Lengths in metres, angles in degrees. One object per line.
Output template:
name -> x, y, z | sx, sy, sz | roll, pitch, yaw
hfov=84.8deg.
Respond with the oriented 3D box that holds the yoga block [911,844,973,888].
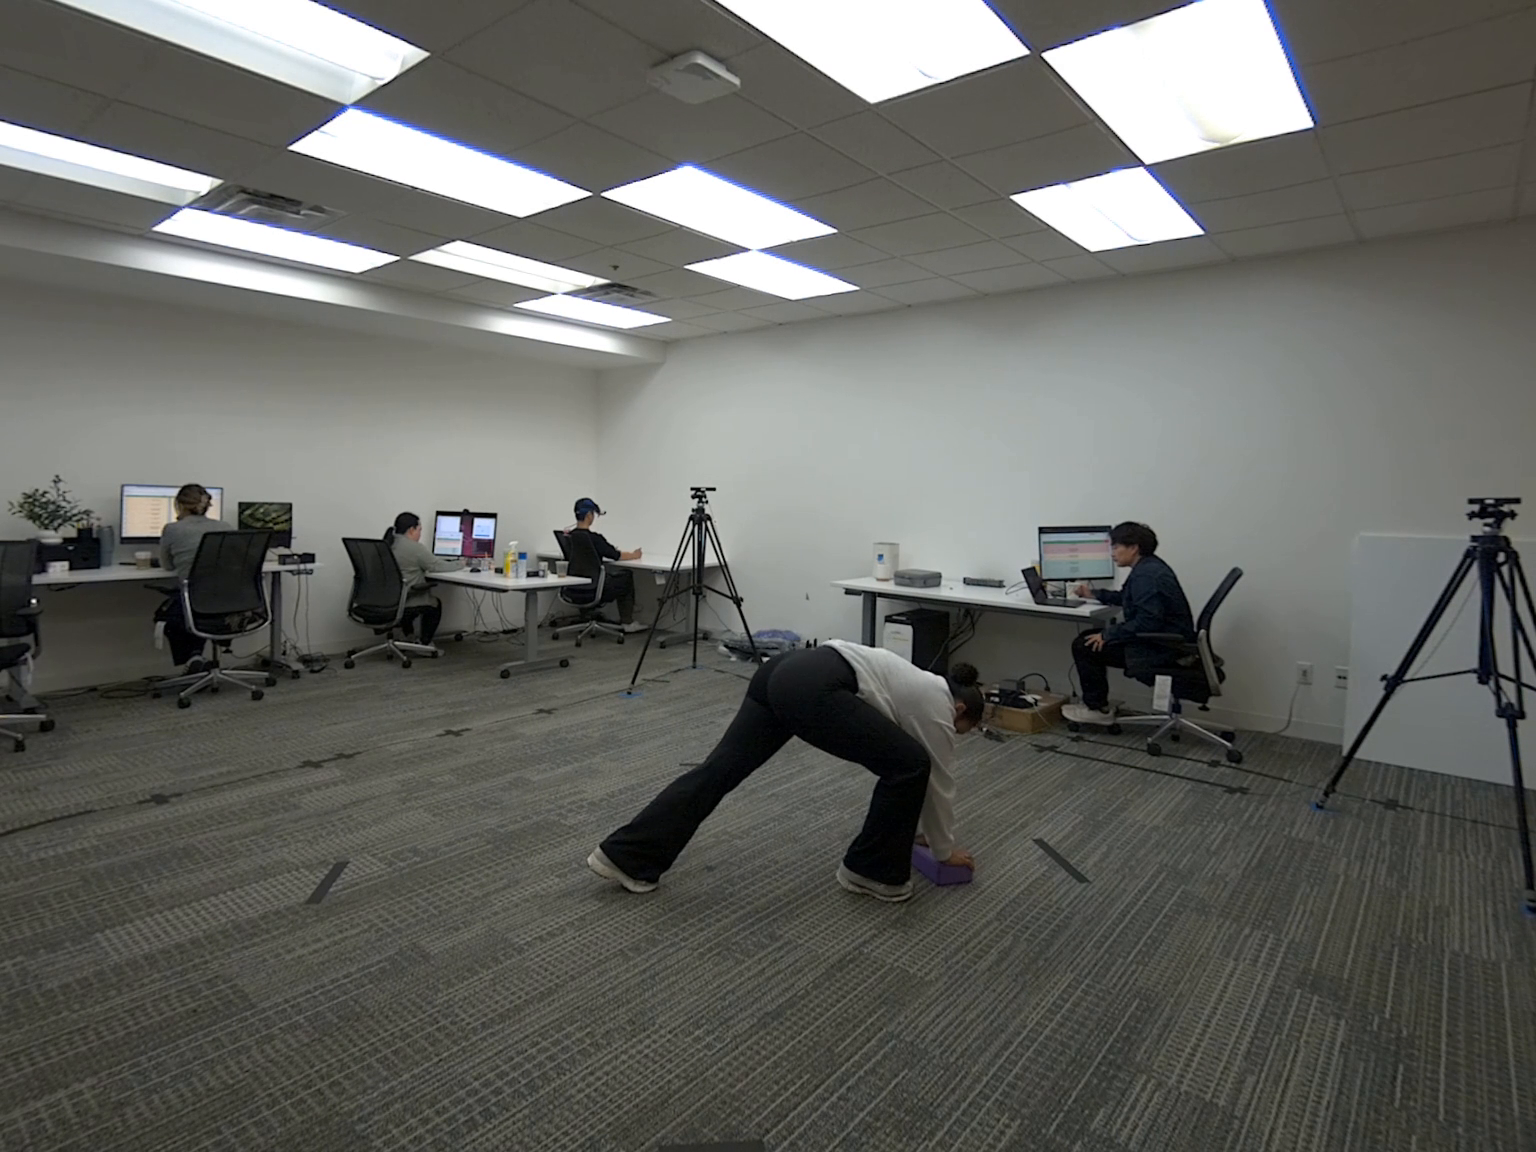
yoga block -> 0.620, 1.044, 3.138 | 0.146, 0.076, 0.235 | 0, 4, -21
